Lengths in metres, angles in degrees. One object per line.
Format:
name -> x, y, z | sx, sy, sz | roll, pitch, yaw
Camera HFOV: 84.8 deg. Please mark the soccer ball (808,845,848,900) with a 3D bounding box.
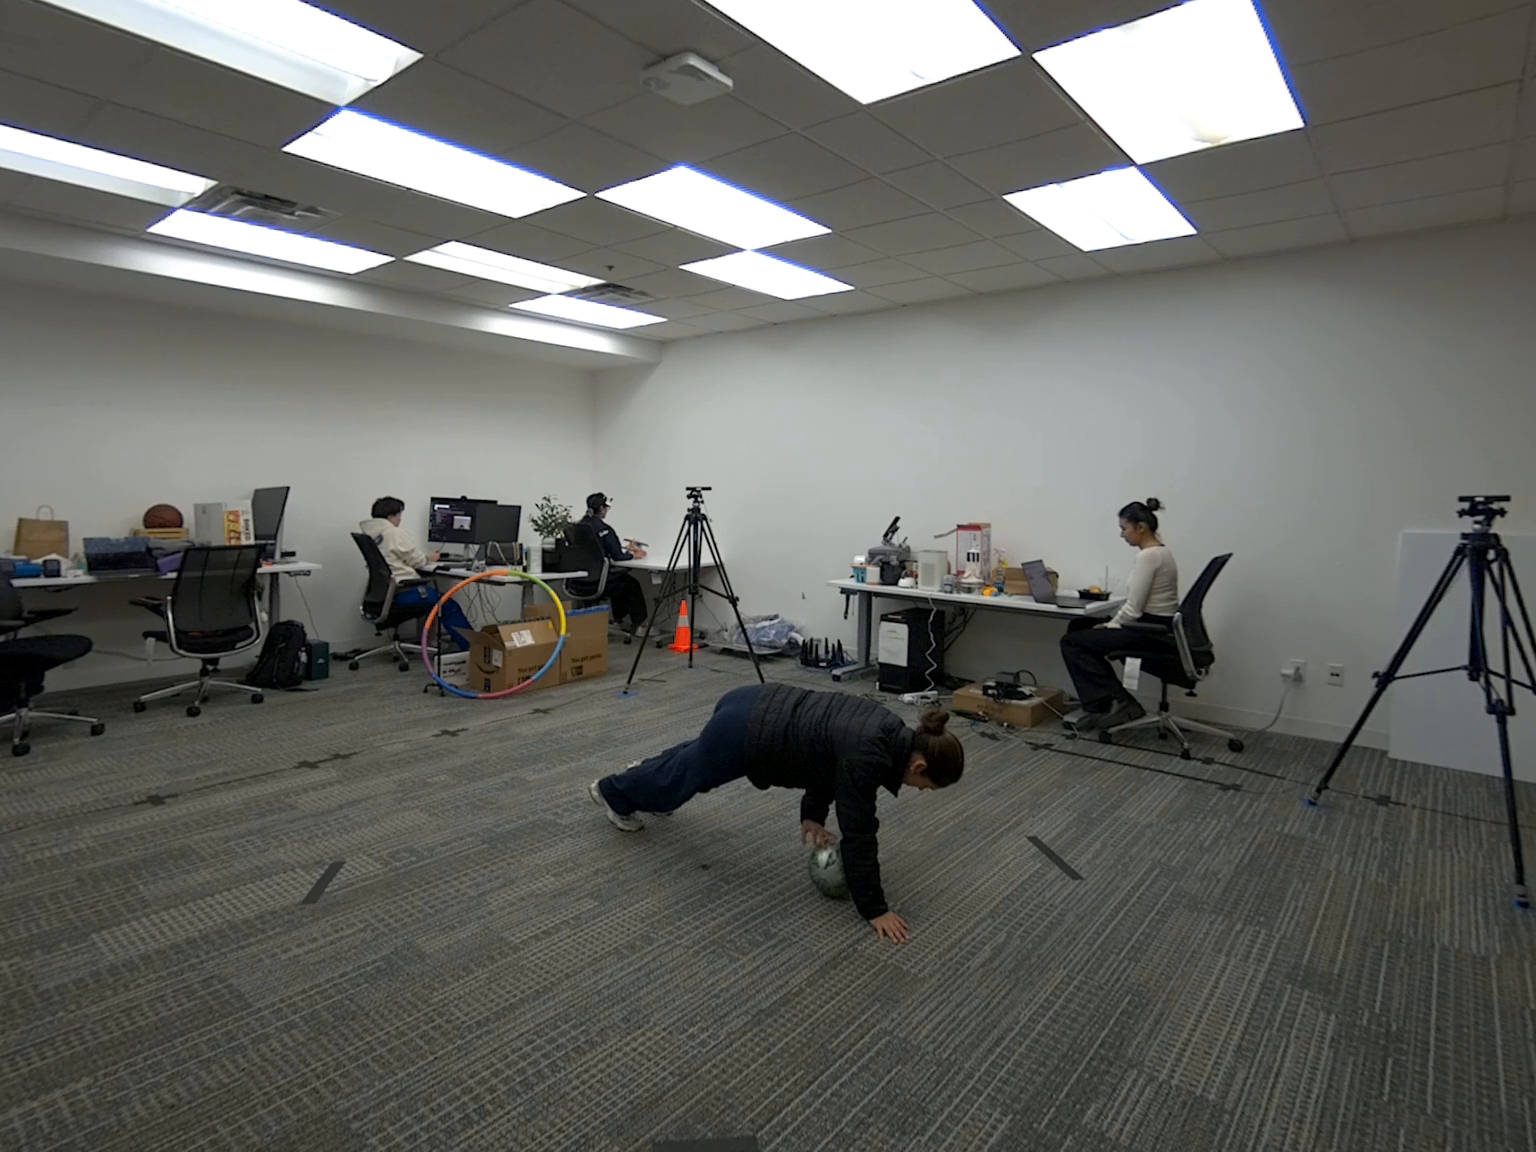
soccer ball -> 0.234, 0.997, 2.933 | 0.187, 0.187, 0.188 | 1, 4, -2
